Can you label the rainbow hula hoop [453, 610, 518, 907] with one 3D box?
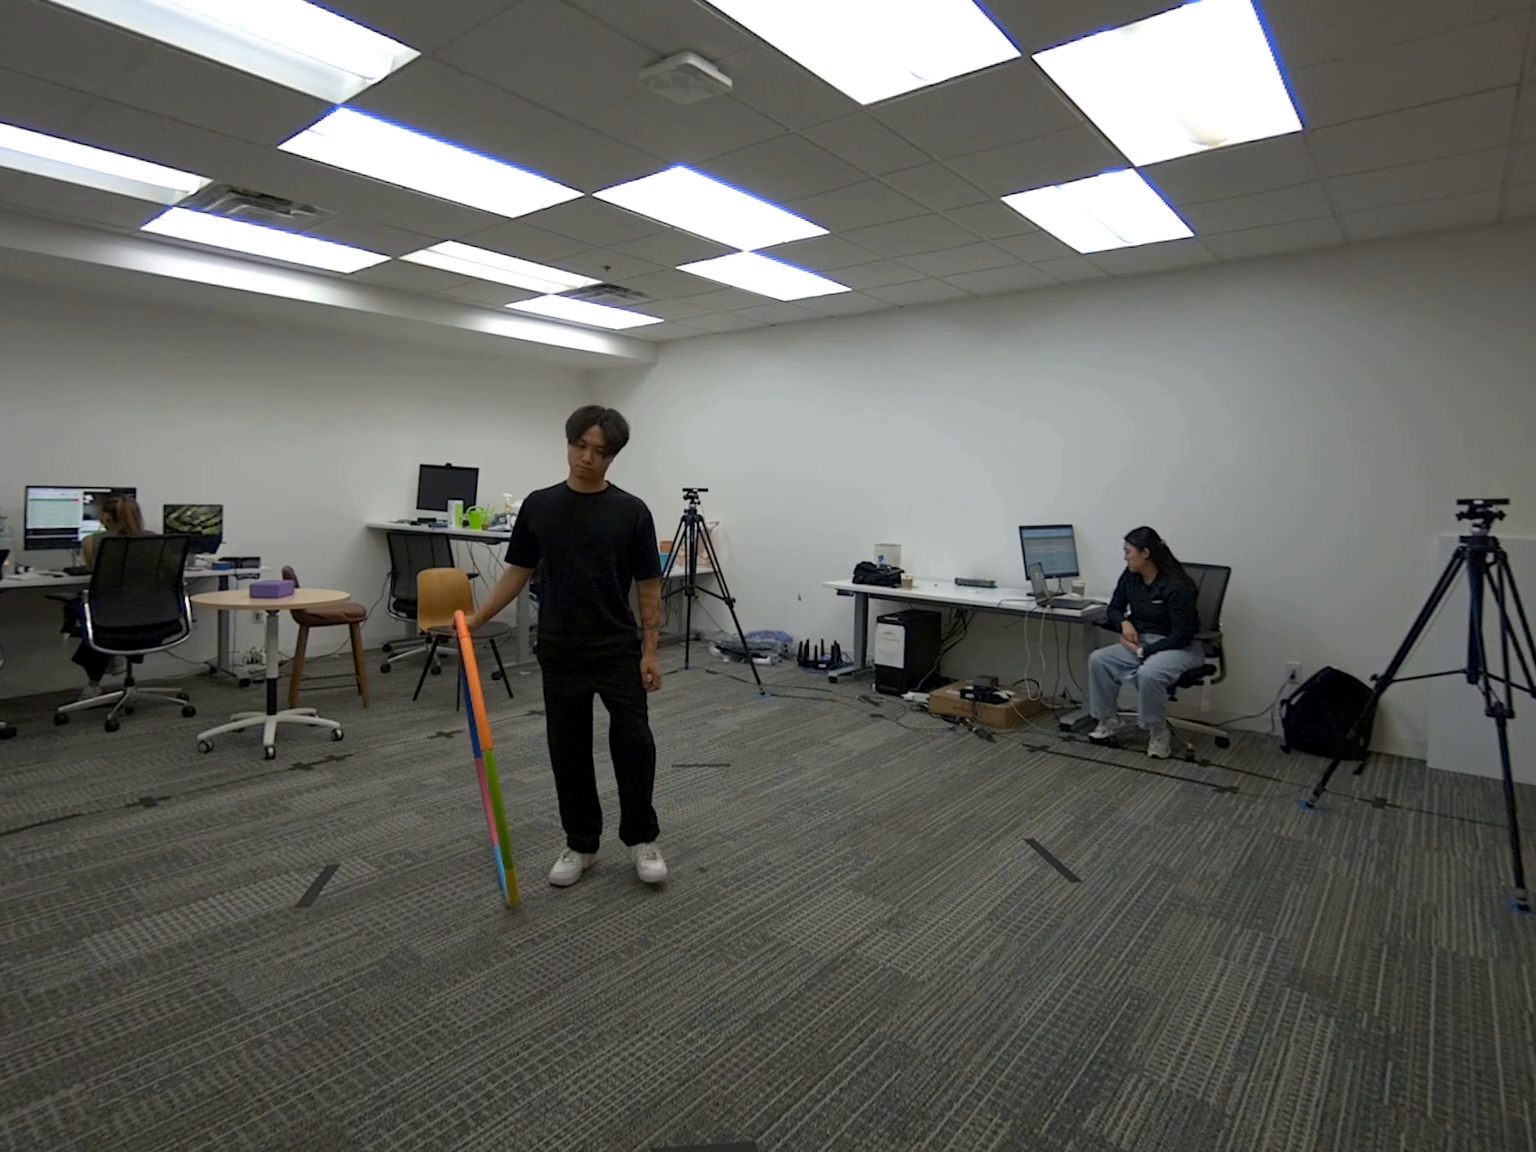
[{"bbox_3d":[-0.960,0.605,2.859,0.035,0.972,1.003,-10,7,-22],"label":"rainbow hula hoop"}]
